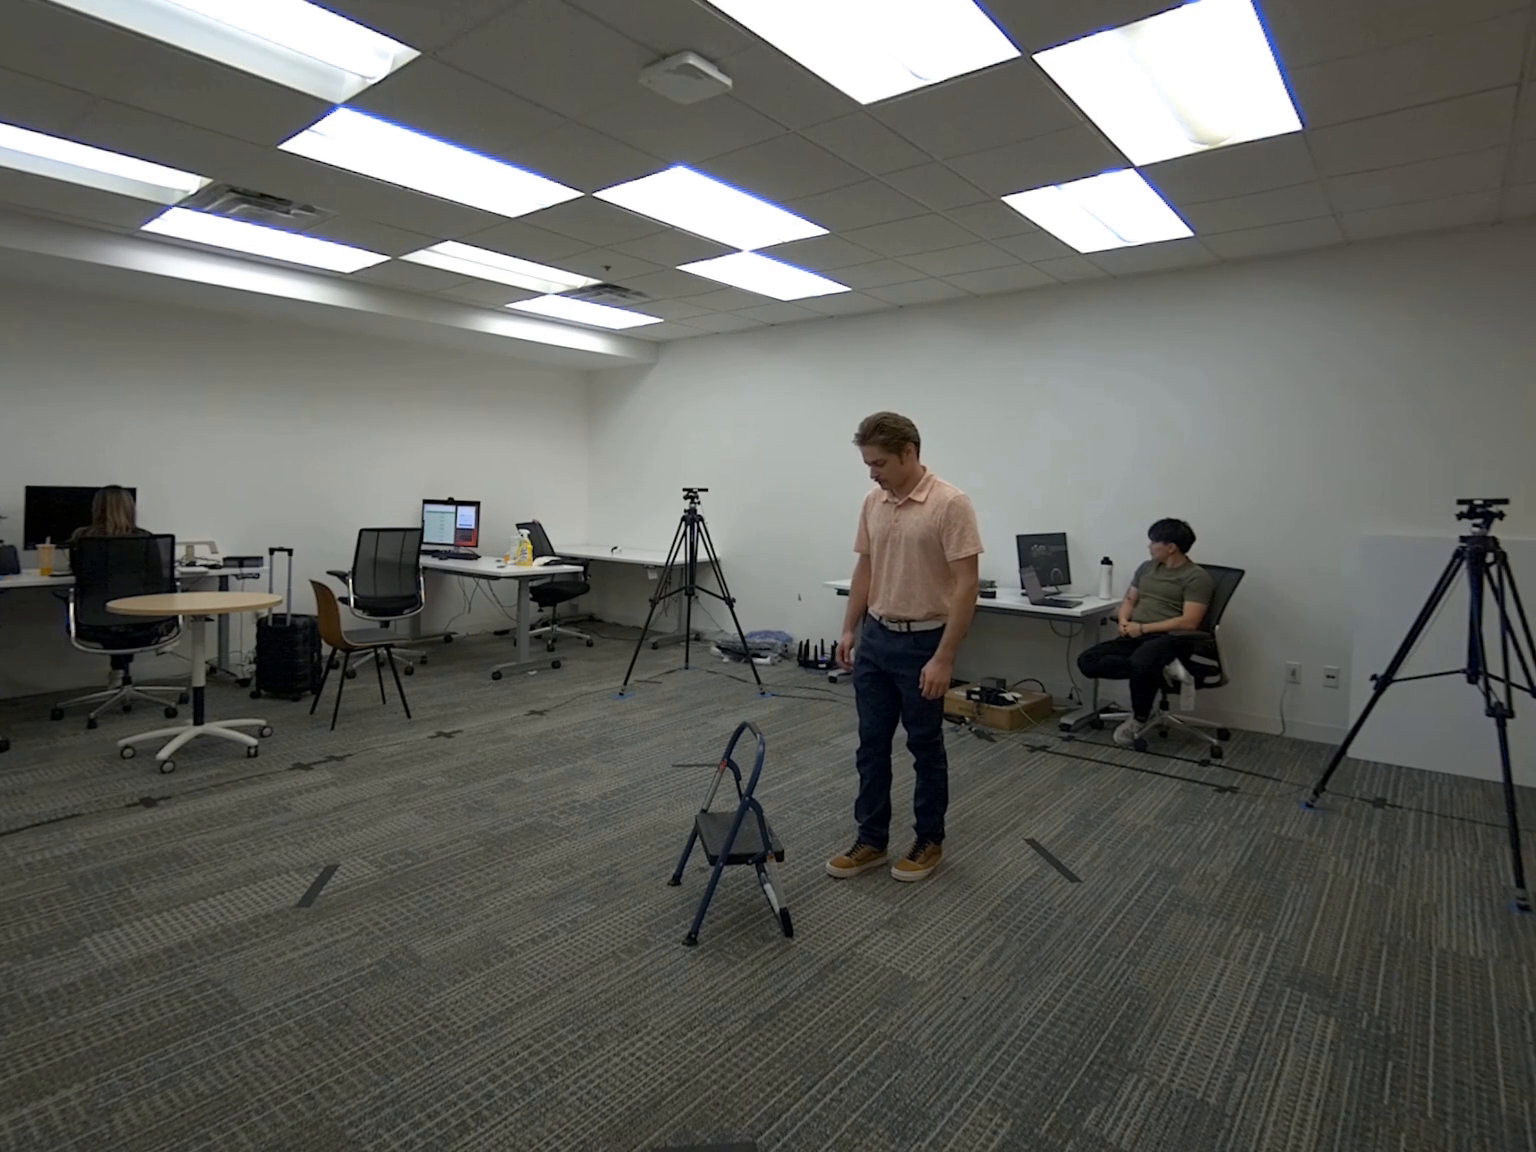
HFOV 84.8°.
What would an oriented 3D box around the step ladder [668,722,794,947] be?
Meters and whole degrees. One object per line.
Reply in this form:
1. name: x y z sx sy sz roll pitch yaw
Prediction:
1. step ladder: -0.131 0.803 2.800 0.345 0.604 0.438 -1 4 -13
